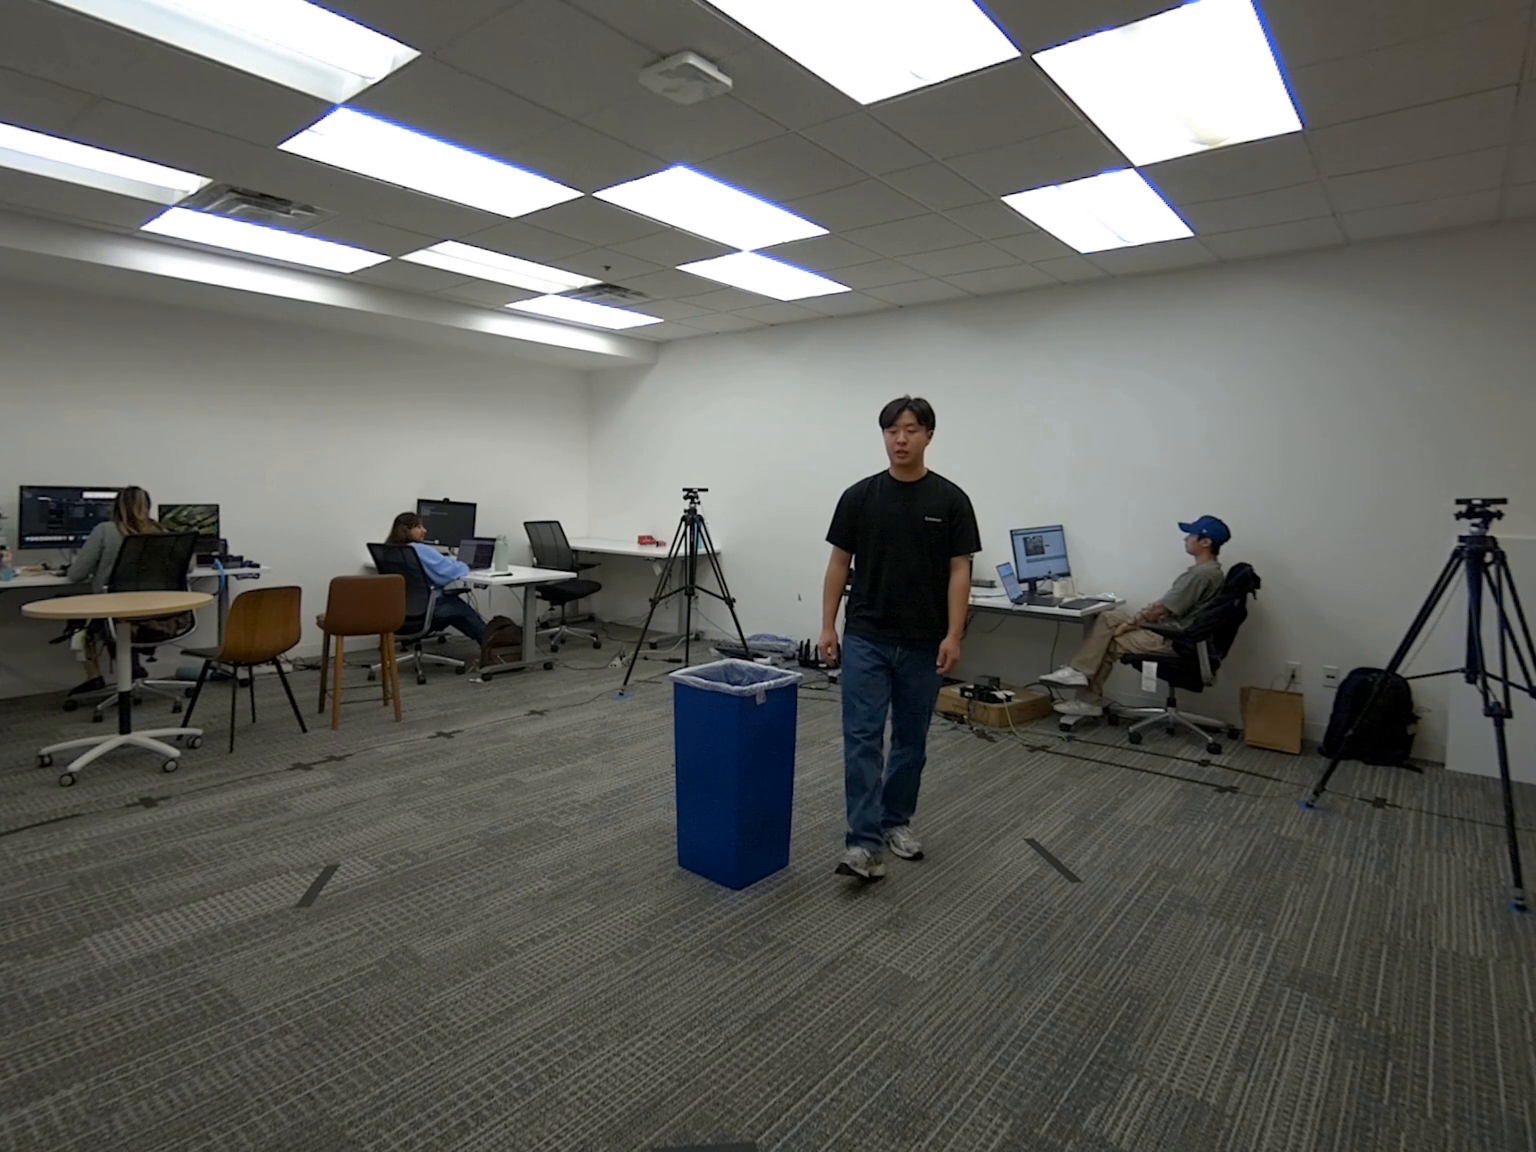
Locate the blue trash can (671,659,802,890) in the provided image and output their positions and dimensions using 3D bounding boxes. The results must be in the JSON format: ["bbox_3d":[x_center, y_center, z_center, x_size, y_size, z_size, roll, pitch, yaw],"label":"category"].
[{"bbox_3d":[-0.140,0.710,3.139,0.387,0.712,0.366,4,4,41],"label":"blue trash can"}]
